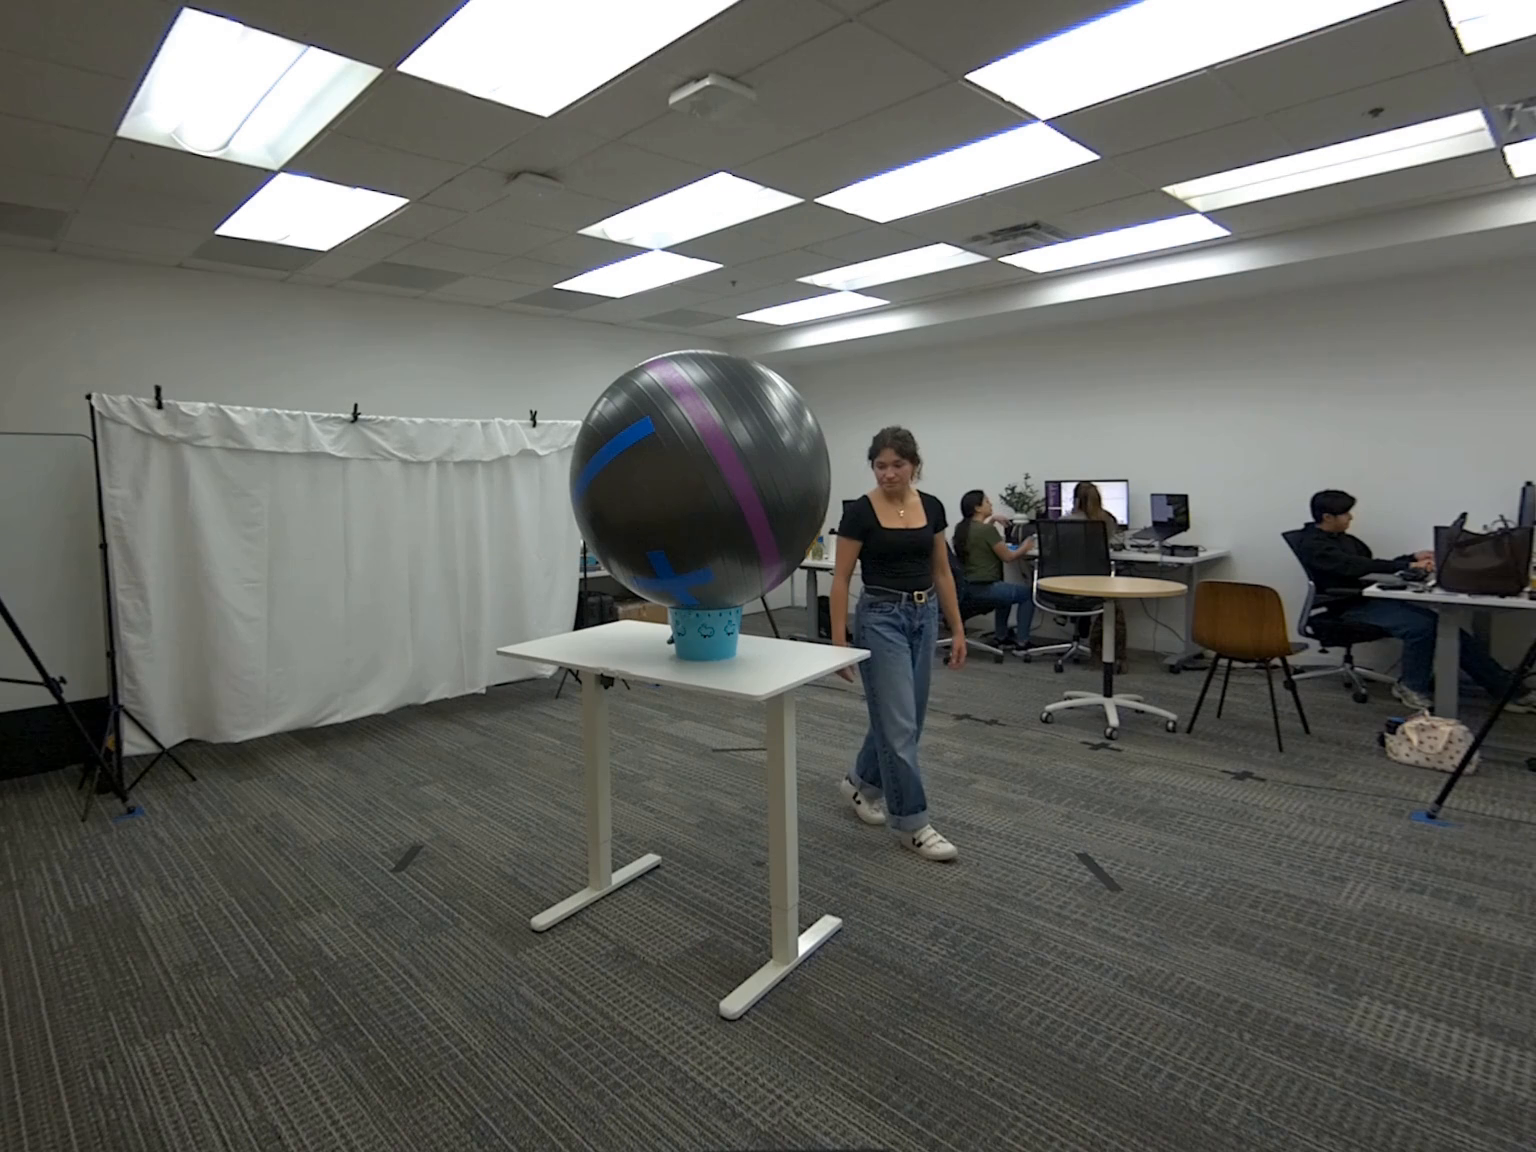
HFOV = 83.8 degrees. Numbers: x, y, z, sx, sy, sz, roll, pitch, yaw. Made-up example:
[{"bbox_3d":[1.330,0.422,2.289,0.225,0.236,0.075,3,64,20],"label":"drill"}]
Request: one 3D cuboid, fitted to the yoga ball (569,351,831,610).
[{"bbox_3d":[-0.193,-0.270,2.506,0.757,0.755,0.762,-1,5,-2],"label":"yoga ball"}]
